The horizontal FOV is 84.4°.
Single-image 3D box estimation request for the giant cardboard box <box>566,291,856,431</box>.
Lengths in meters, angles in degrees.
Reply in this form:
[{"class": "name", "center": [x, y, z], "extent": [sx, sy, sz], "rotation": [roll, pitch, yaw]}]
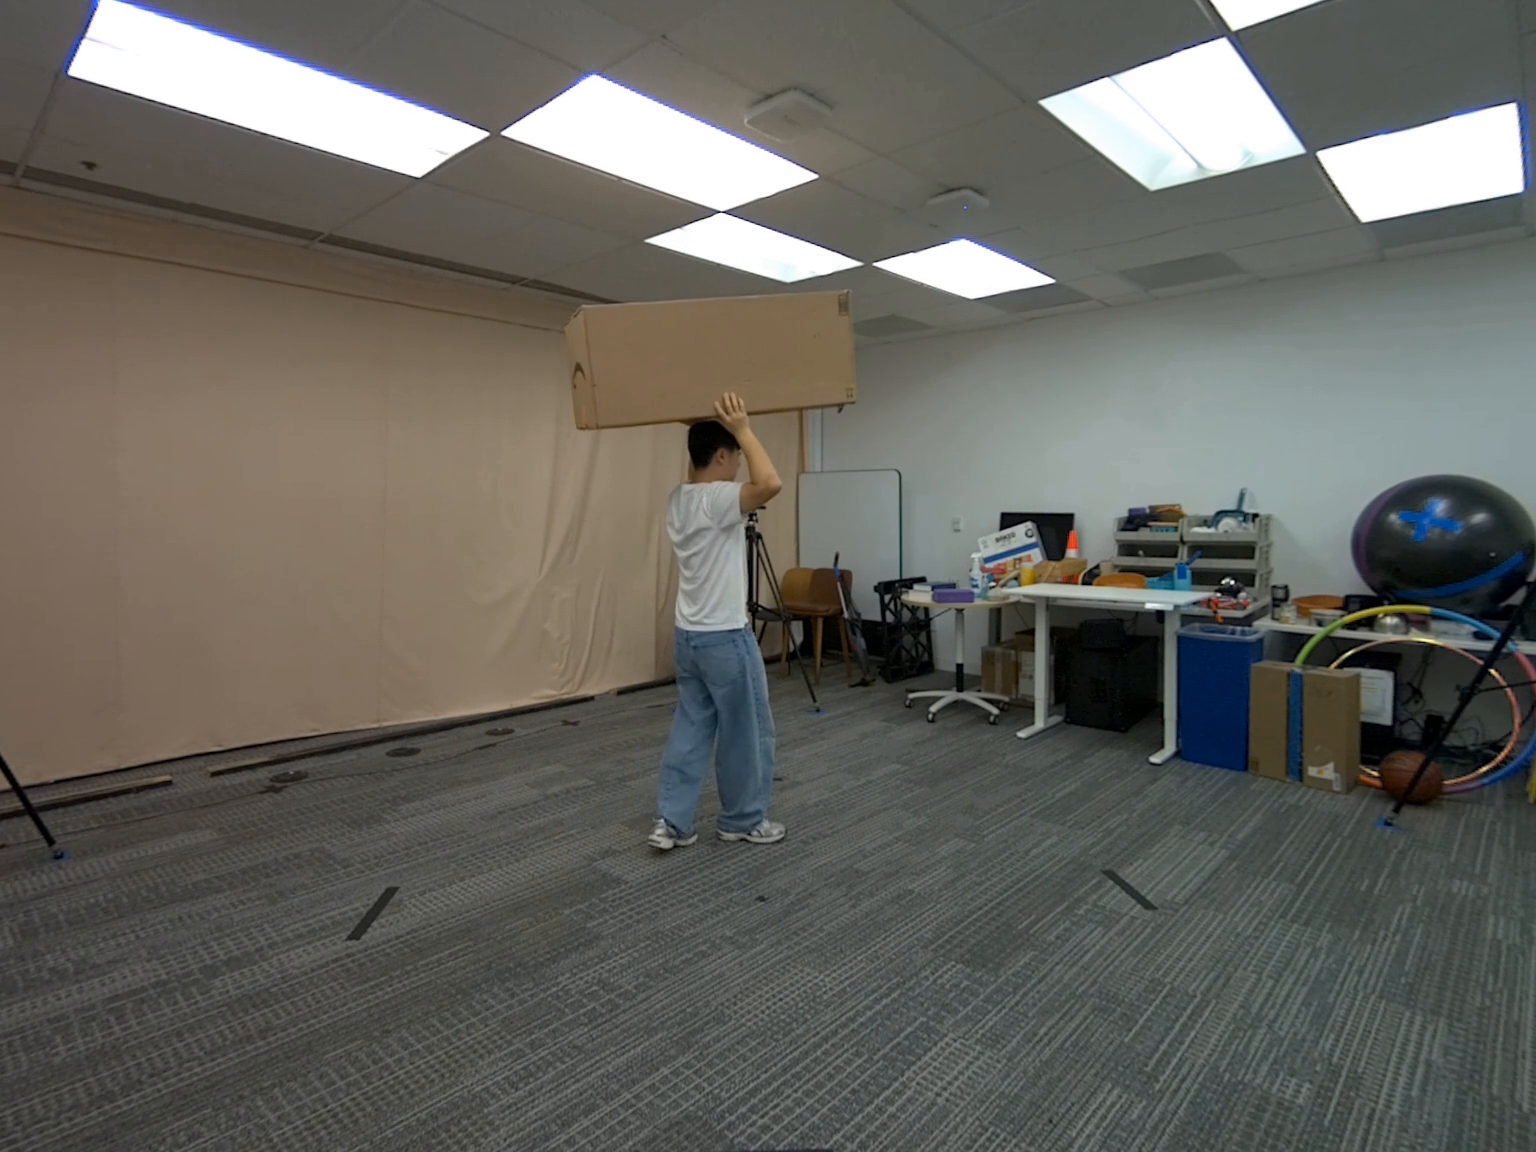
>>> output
[{"class": "giant cardboard box", "center": [-0.245, -0.842, 3.350], "extent": [1.010, 0.423, 0.591], "rotation": [-9, 11, -17]}]
